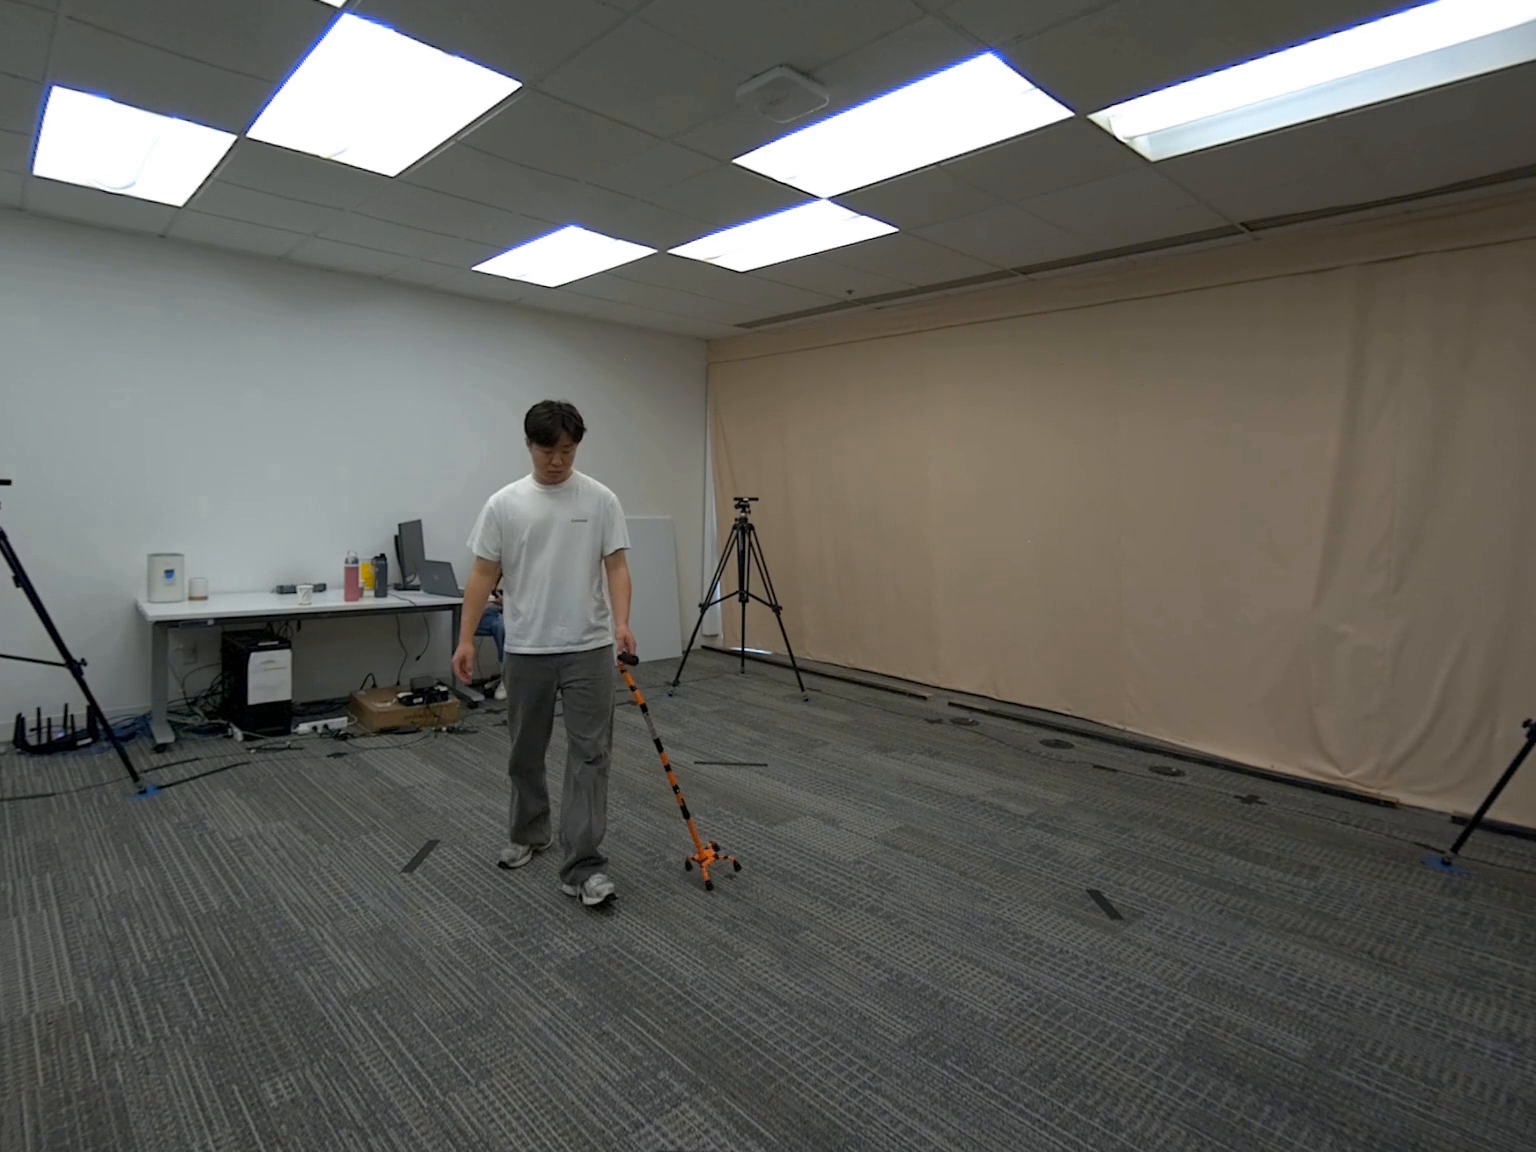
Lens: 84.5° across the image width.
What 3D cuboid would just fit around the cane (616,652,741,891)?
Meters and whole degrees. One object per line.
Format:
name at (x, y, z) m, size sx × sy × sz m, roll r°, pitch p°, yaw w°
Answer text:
cane at (-0.352, 0.676, 2.982) m, size 0.150 × 0.897 × 0.211 m, roll -24°, pitch 13°, yaw -22°
